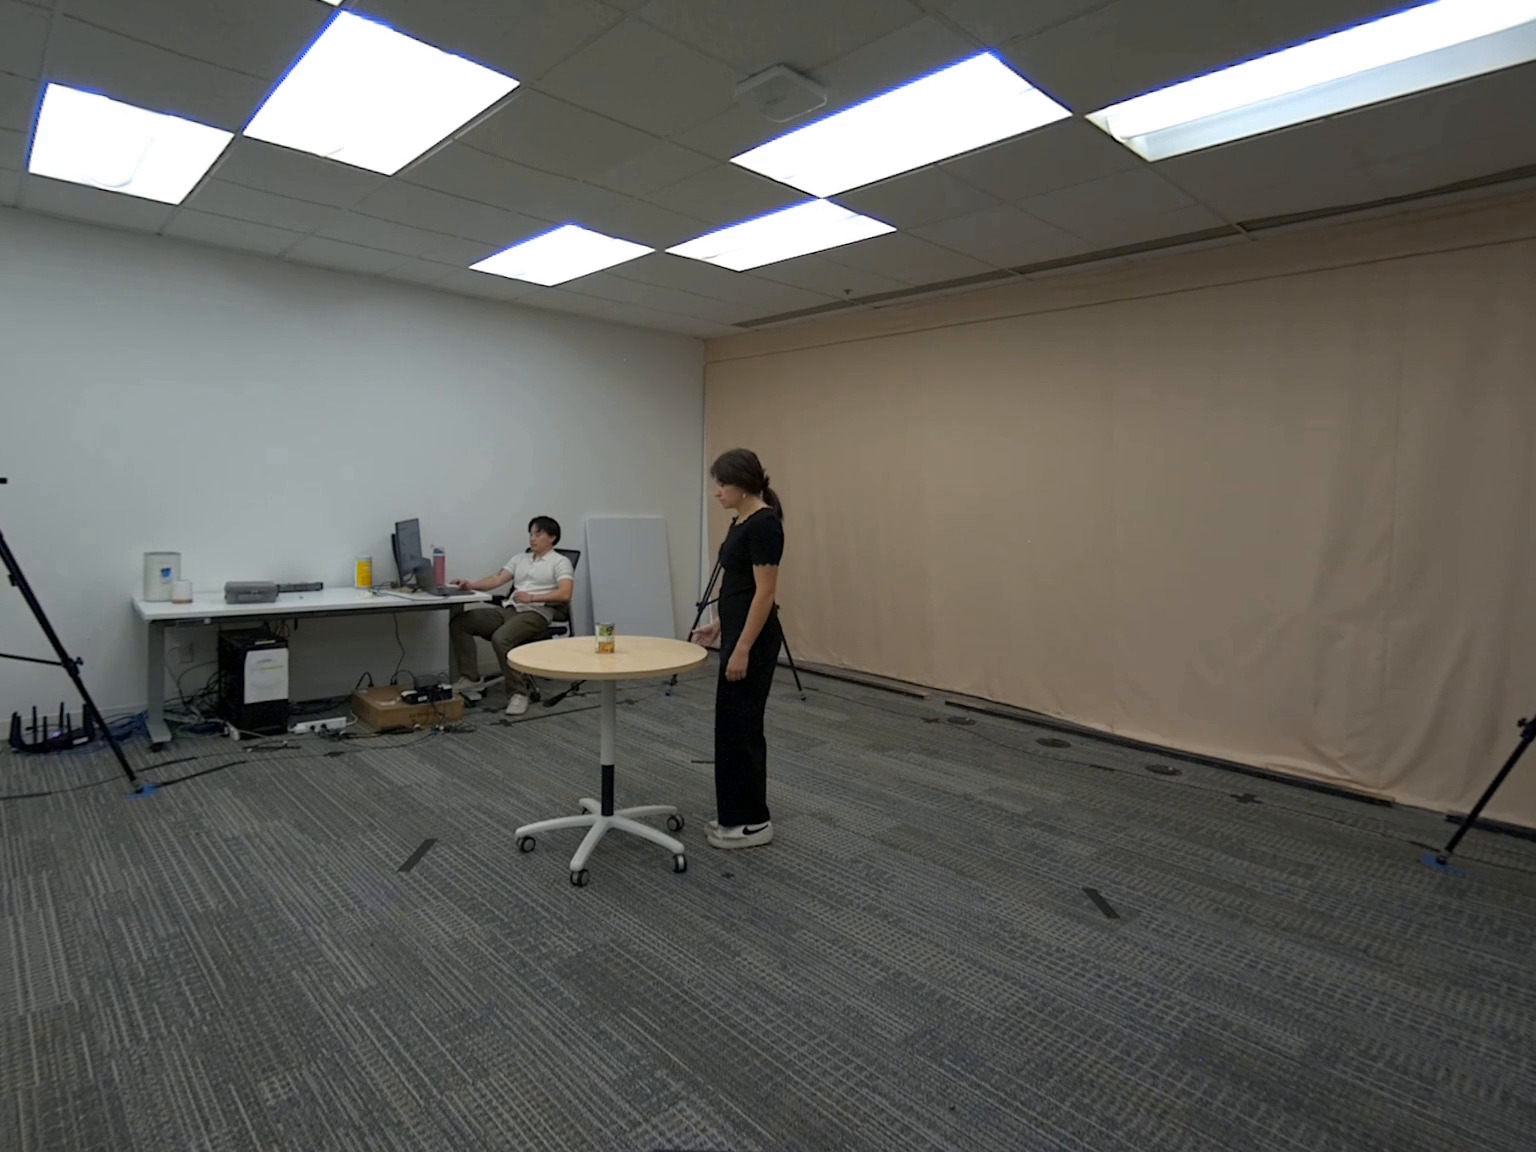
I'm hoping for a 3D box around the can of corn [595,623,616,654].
[{"bbox_3d":[-0.642,0.243,3.259,0.074,0.111,0.074,0,0,-1],"label":"can of corn"}]
